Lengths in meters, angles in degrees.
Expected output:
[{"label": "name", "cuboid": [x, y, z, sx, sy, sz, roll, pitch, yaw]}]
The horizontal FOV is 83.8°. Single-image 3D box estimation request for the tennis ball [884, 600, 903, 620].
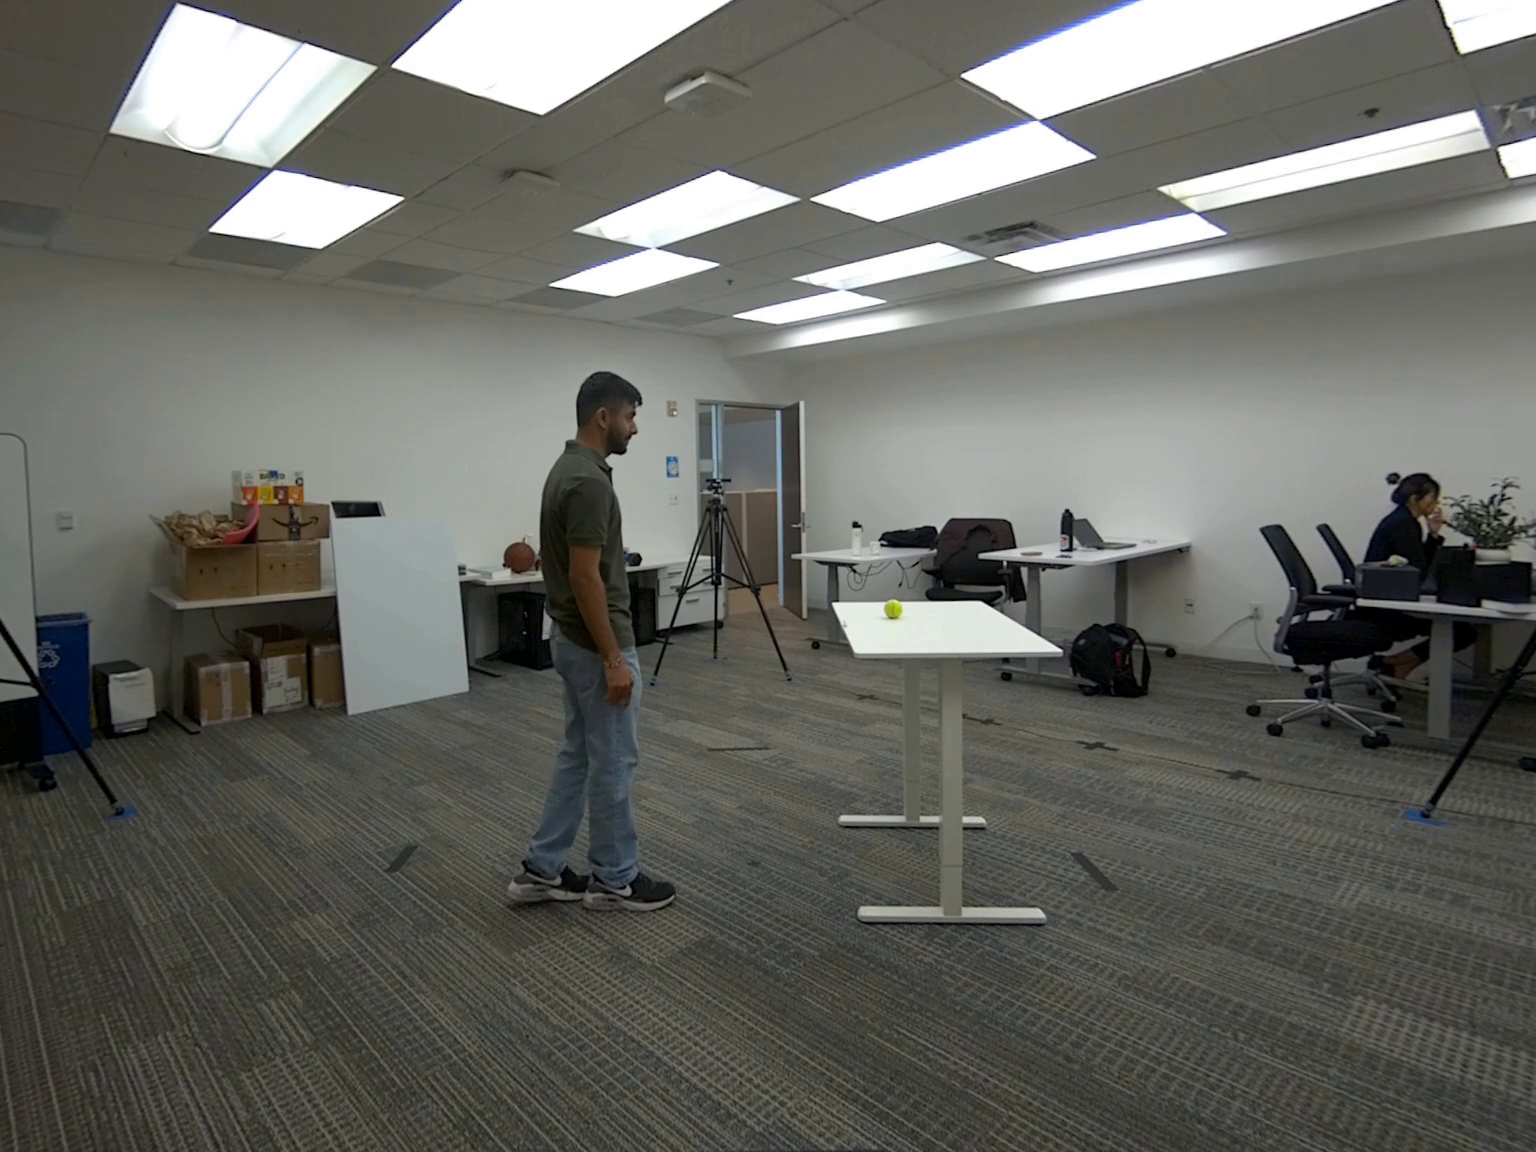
[{"label": "tennis ball", "cuboid": [0.454, 0.117, 3.112, 0.066, 0.066, 0.067, -1, 5, -2]}]
